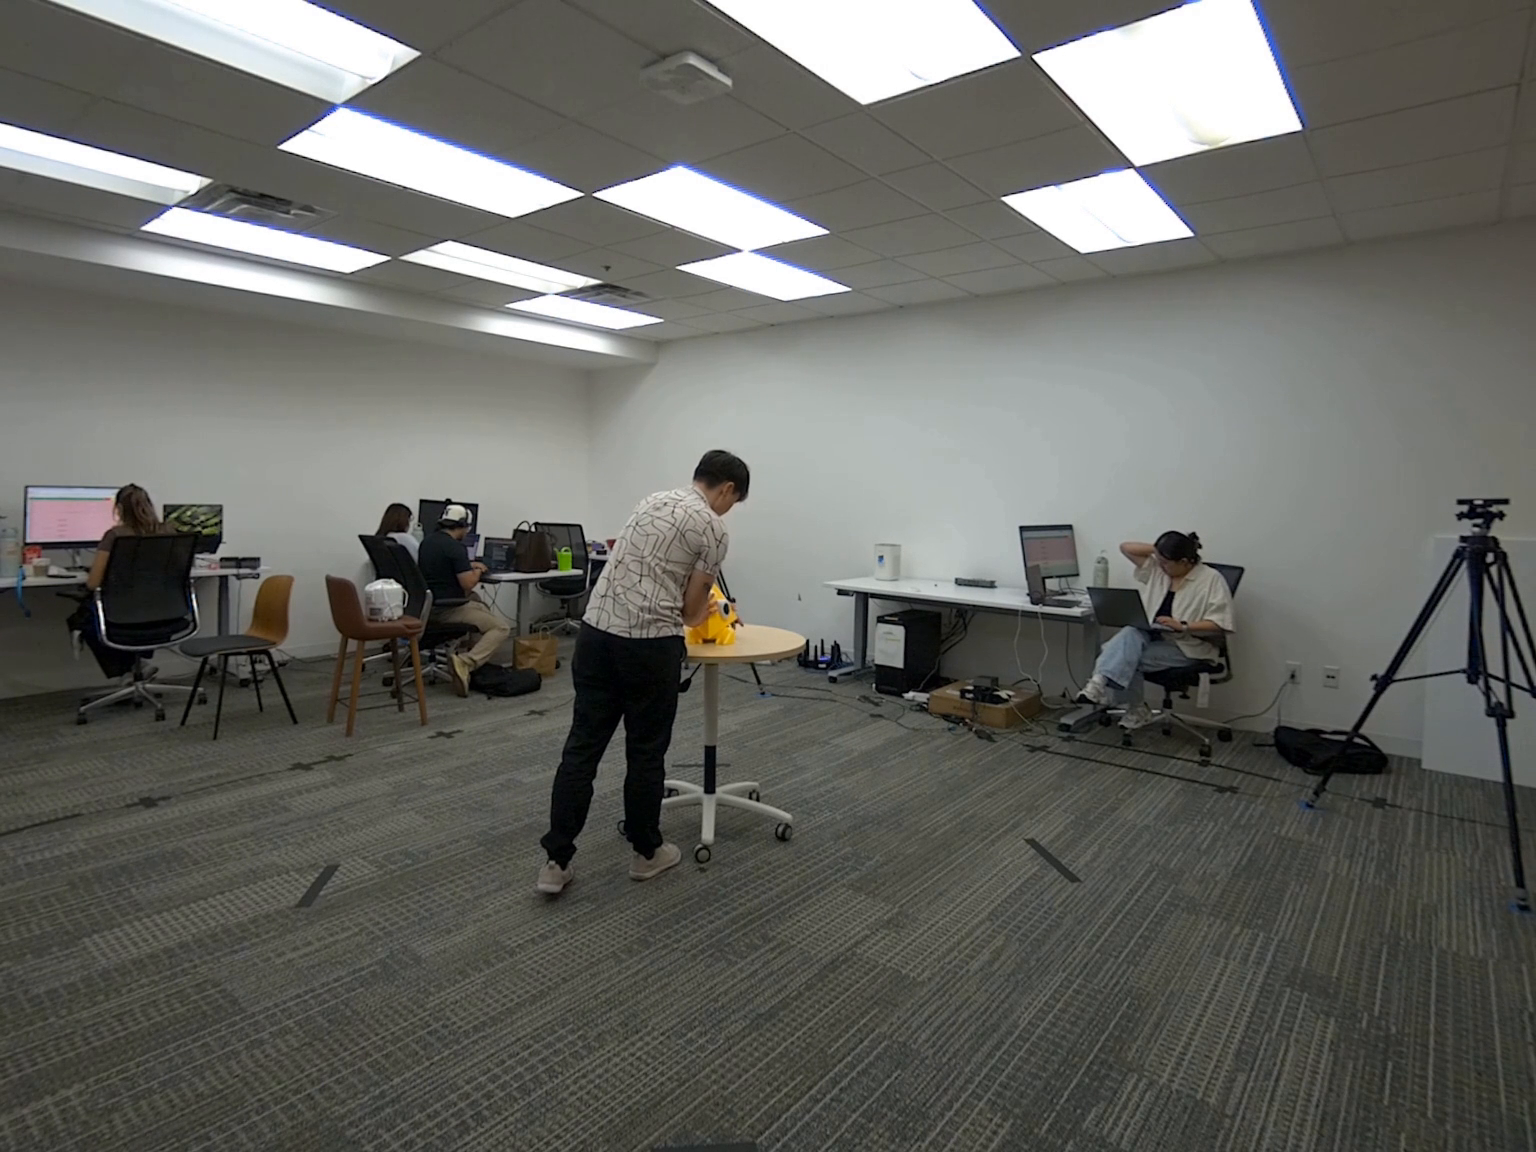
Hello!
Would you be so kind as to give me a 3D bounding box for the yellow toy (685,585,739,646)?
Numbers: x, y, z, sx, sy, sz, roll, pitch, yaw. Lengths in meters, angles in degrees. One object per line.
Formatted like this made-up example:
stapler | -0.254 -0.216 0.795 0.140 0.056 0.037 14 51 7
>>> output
yellow toy | -0.238 0.143 3.417 0.206 0.229 0.193 1 6 4
